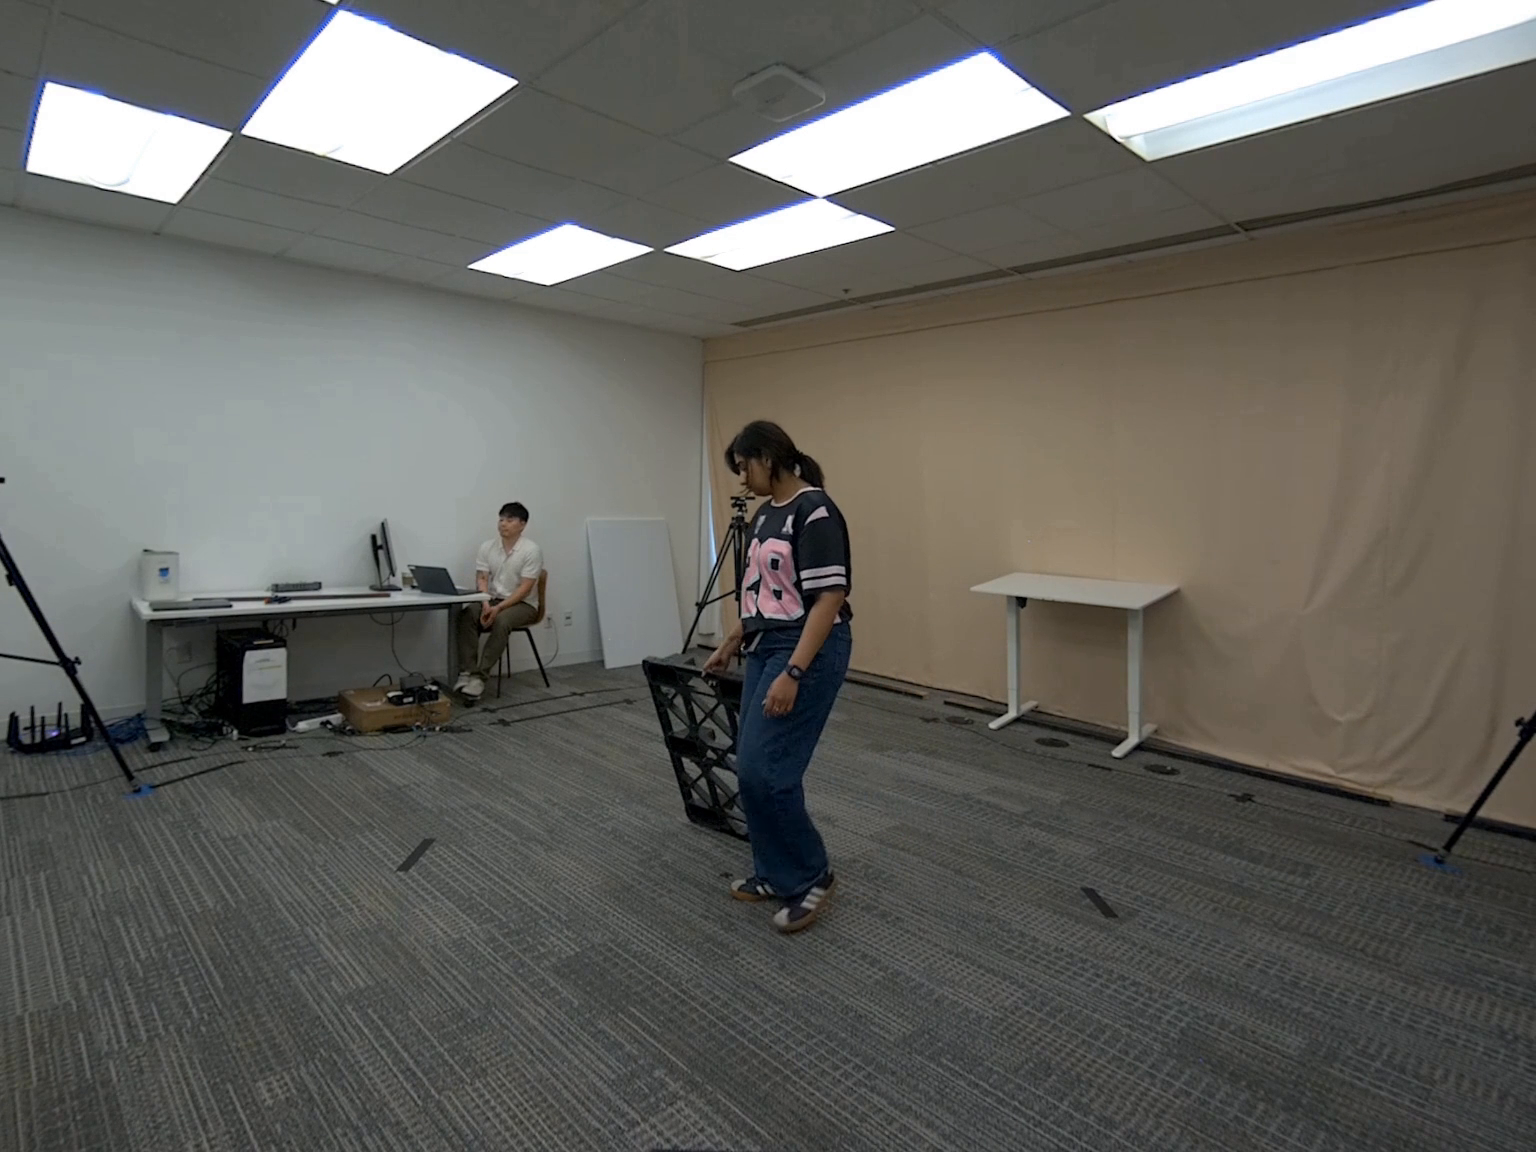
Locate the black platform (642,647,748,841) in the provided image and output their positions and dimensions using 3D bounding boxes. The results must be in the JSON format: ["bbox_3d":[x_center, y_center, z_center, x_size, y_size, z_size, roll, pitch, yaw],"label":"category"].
[{"bbox_3d":[-0.169,0.695,3.344,0.620,0.792,0.142,5,26,41],"label":"black platform"}]
